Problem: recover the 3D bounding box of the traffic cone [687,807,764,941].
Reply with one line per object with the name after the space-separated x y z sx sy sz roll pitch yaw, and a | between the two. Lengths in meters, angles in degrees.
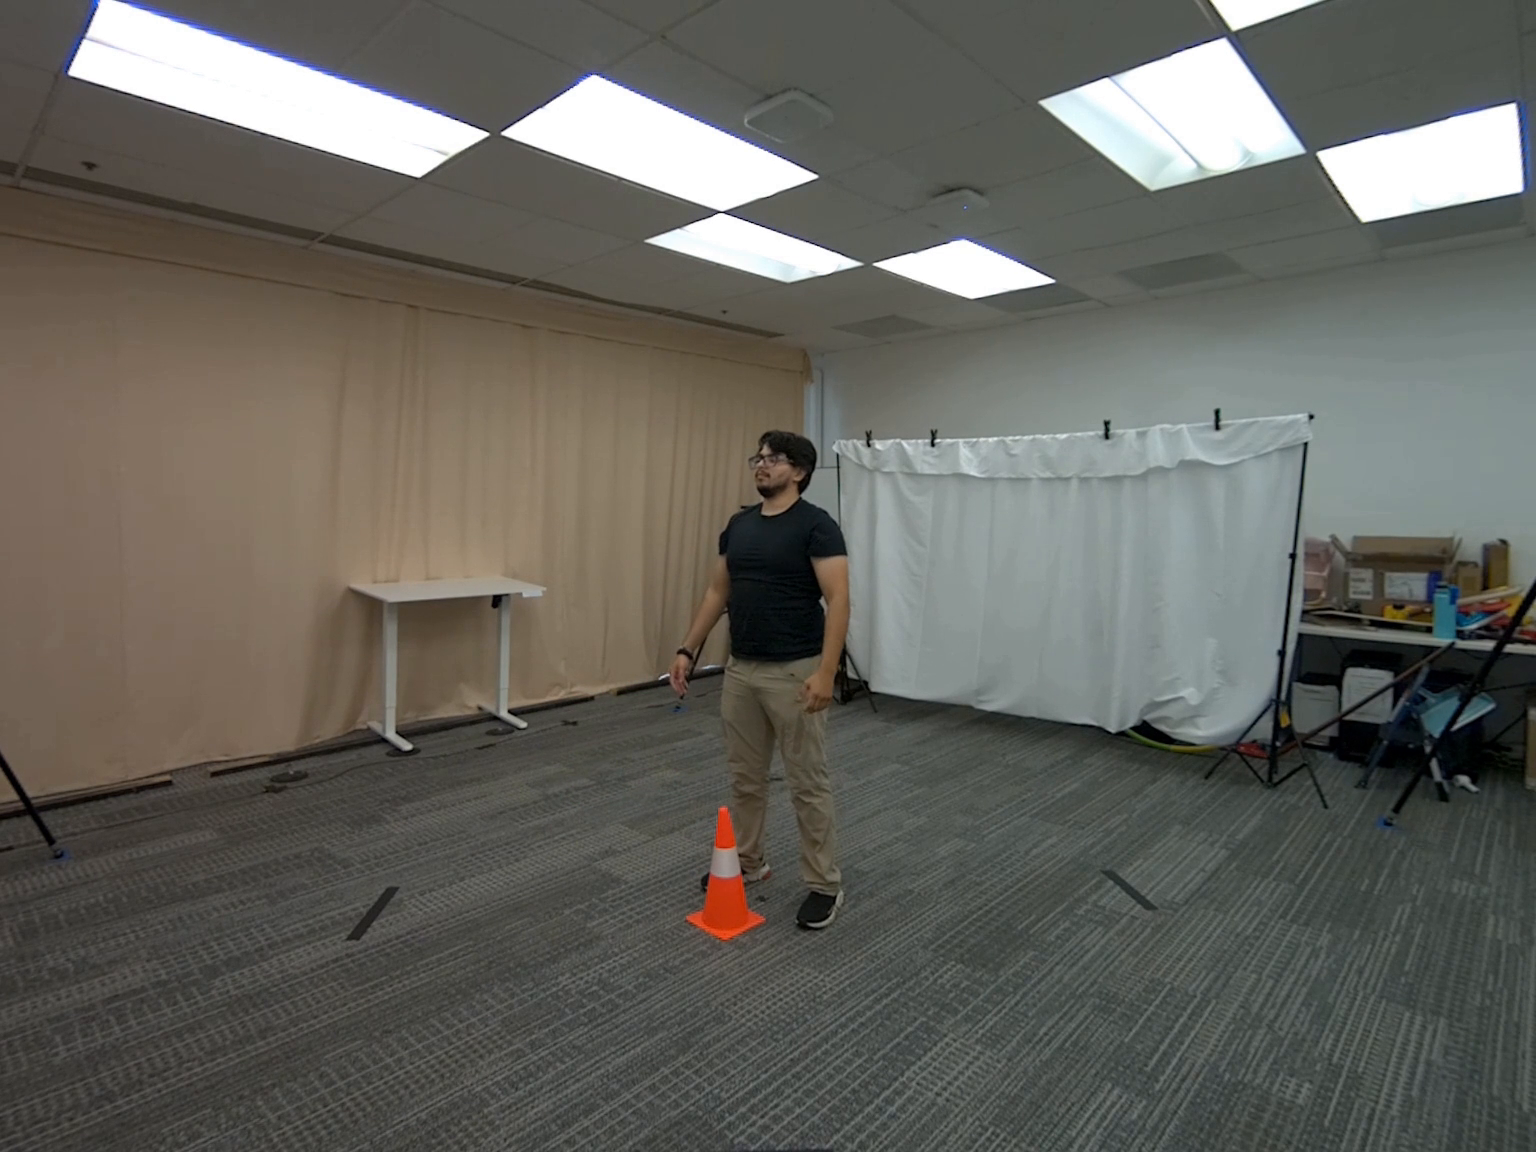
-0.138 0.972 2.820 0.197 0.383 0.212 -3 5 -42 | traffic cone
